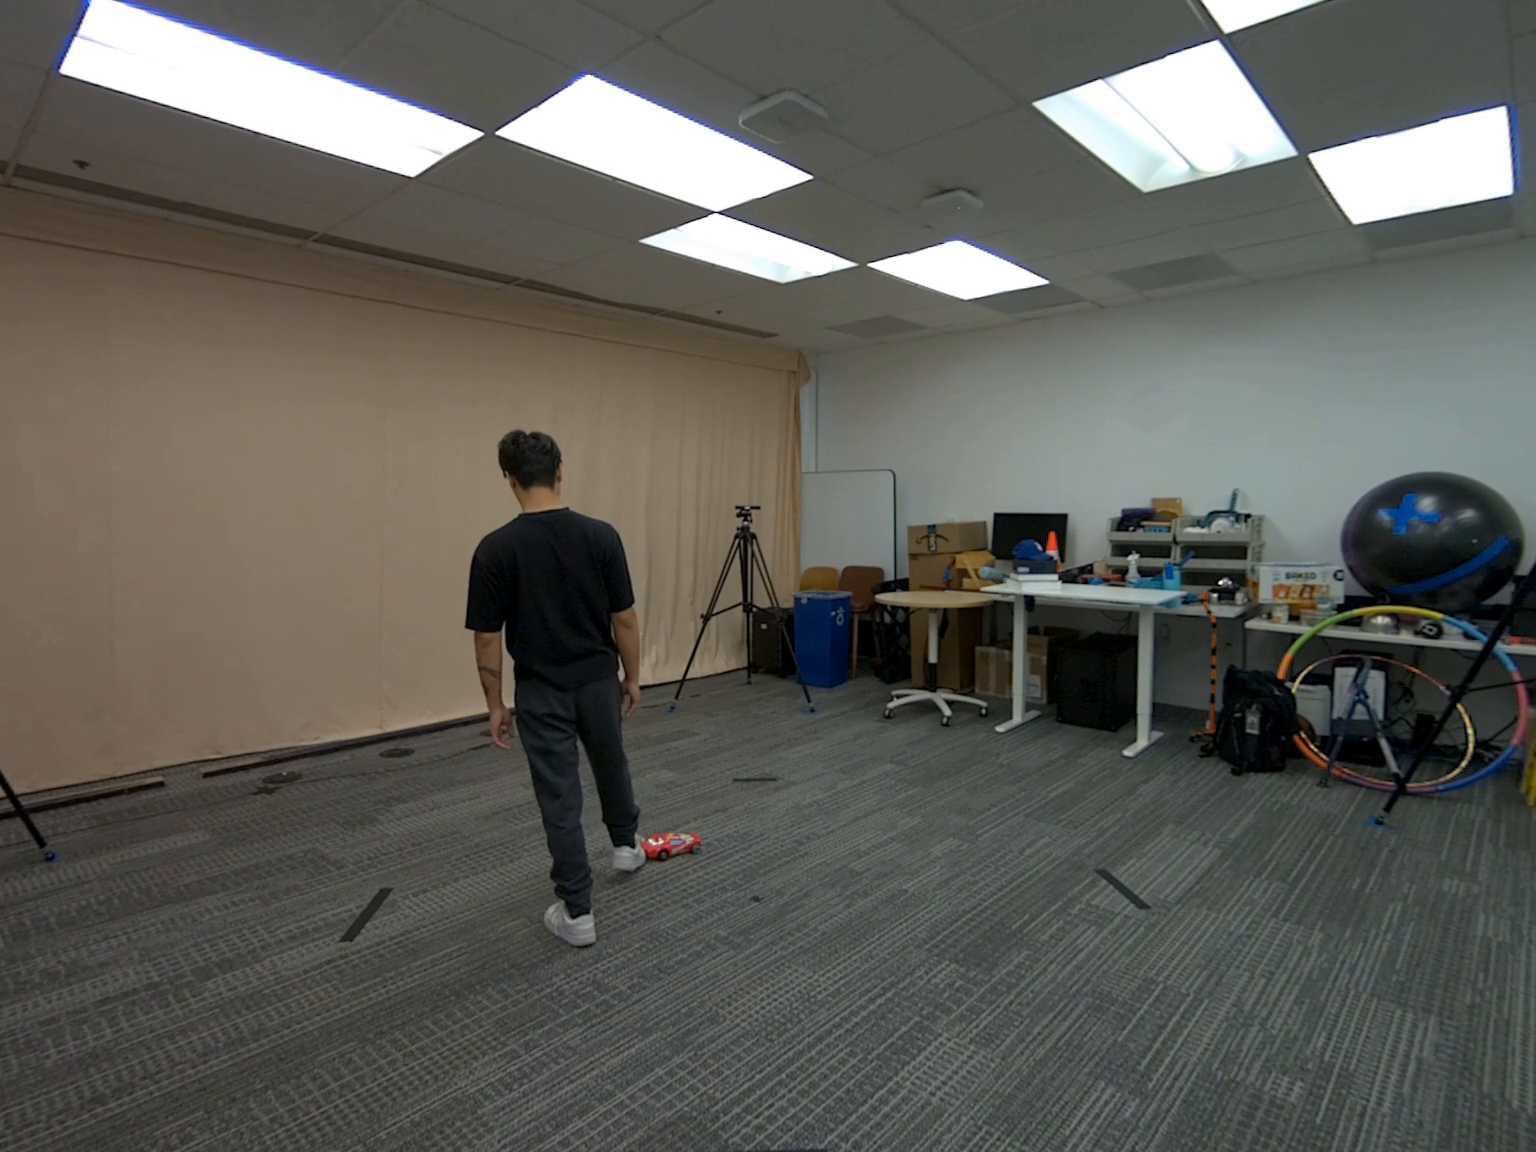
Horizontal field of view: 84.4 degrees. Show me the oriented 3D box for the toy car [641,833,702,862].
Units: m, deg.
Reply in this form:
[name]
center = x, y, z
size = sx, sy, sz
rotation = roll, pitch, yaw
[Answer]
[toy car]
center = -0.406, 1.083, 3.370
size = 0.247, 0.083, 0.134
rotation = 10, -2, -28
